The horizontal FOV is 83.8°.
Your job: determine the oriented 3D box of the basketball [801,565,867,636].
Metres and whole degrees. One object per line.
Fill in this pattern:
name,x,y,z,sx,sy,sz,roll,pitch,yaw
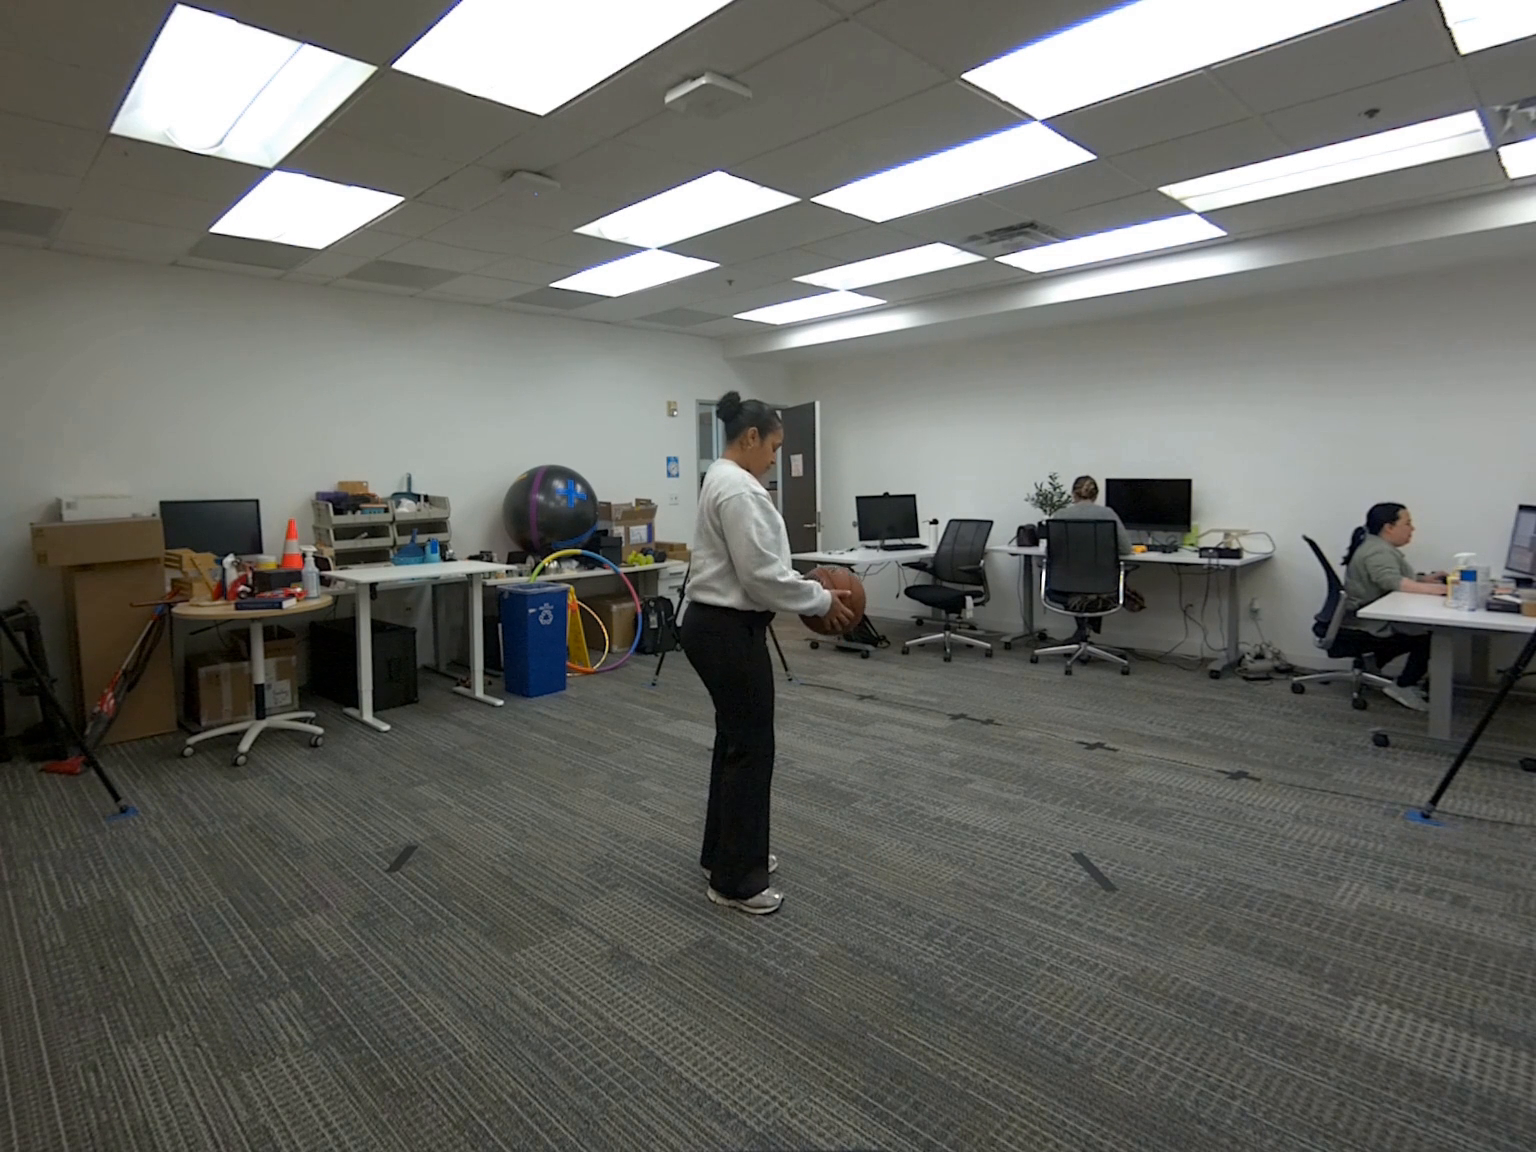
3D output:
basketball,0.207,0.076,2.889,0.236,0.235,0.237,-1,5,-2
